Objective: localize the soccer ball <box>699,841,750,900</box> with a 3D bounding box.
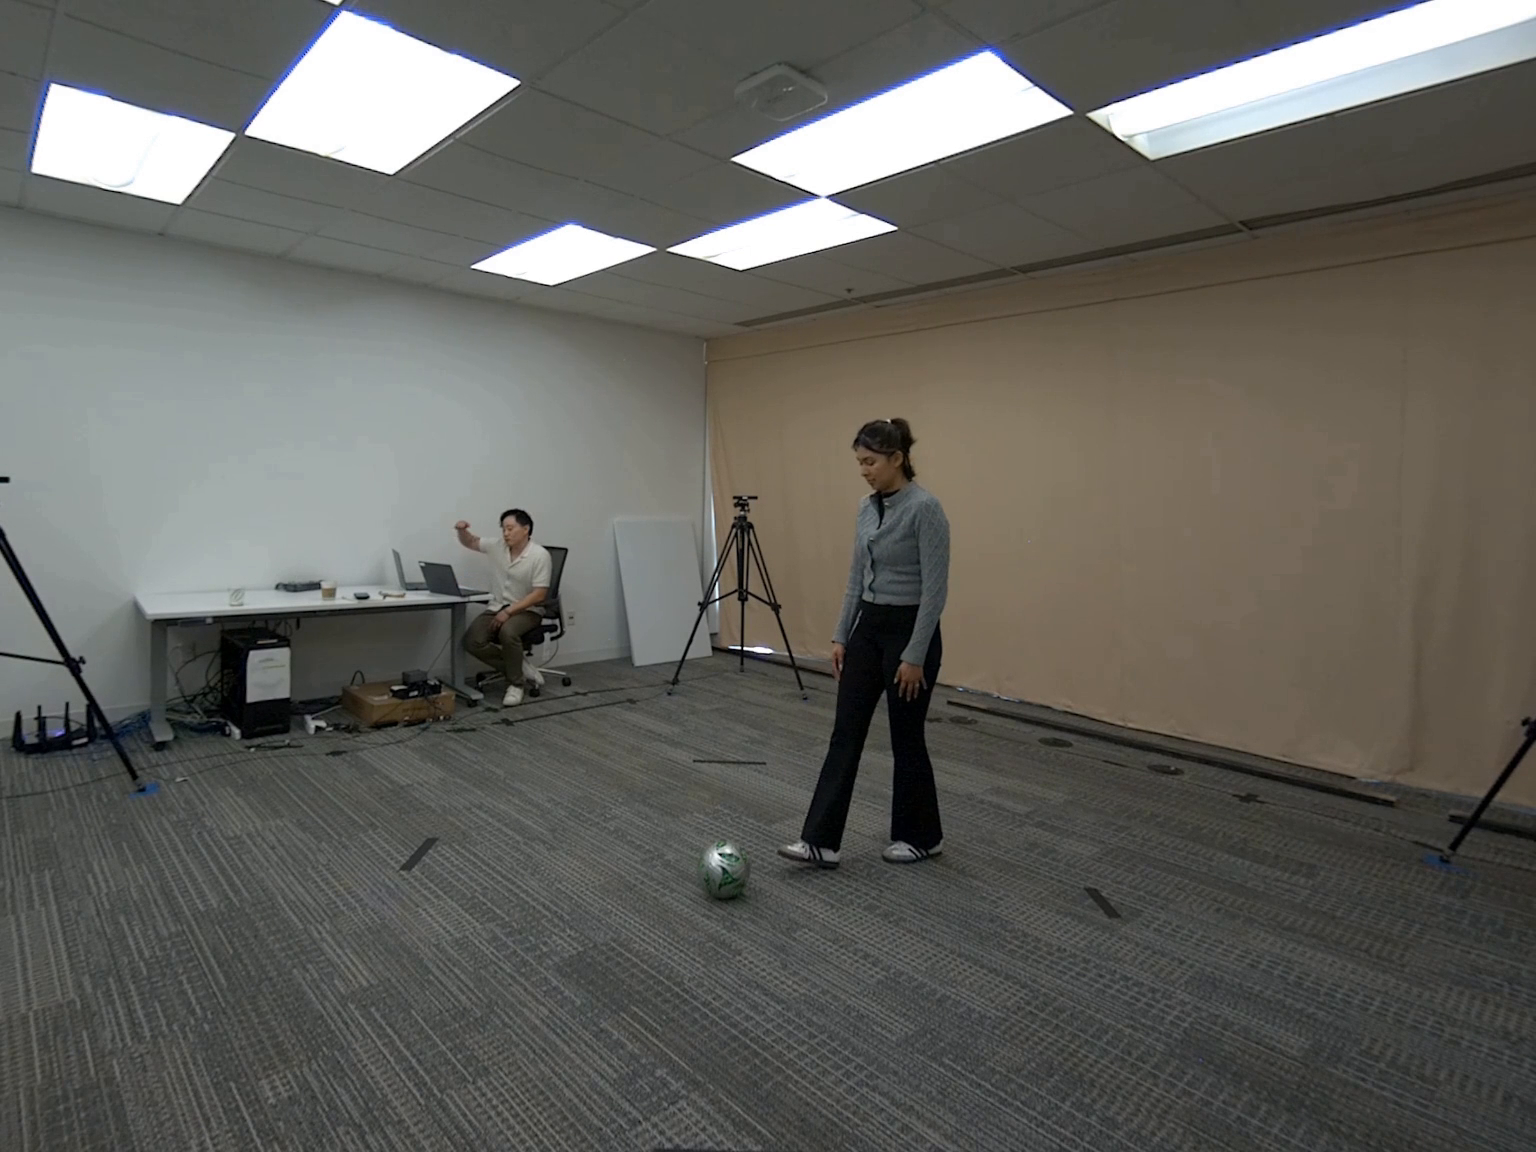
[{"bbox_3d":[-0.164,1.023,2.939,0.187,0.187,0.188,1,4,-1],"label":"soccer ball"}]
